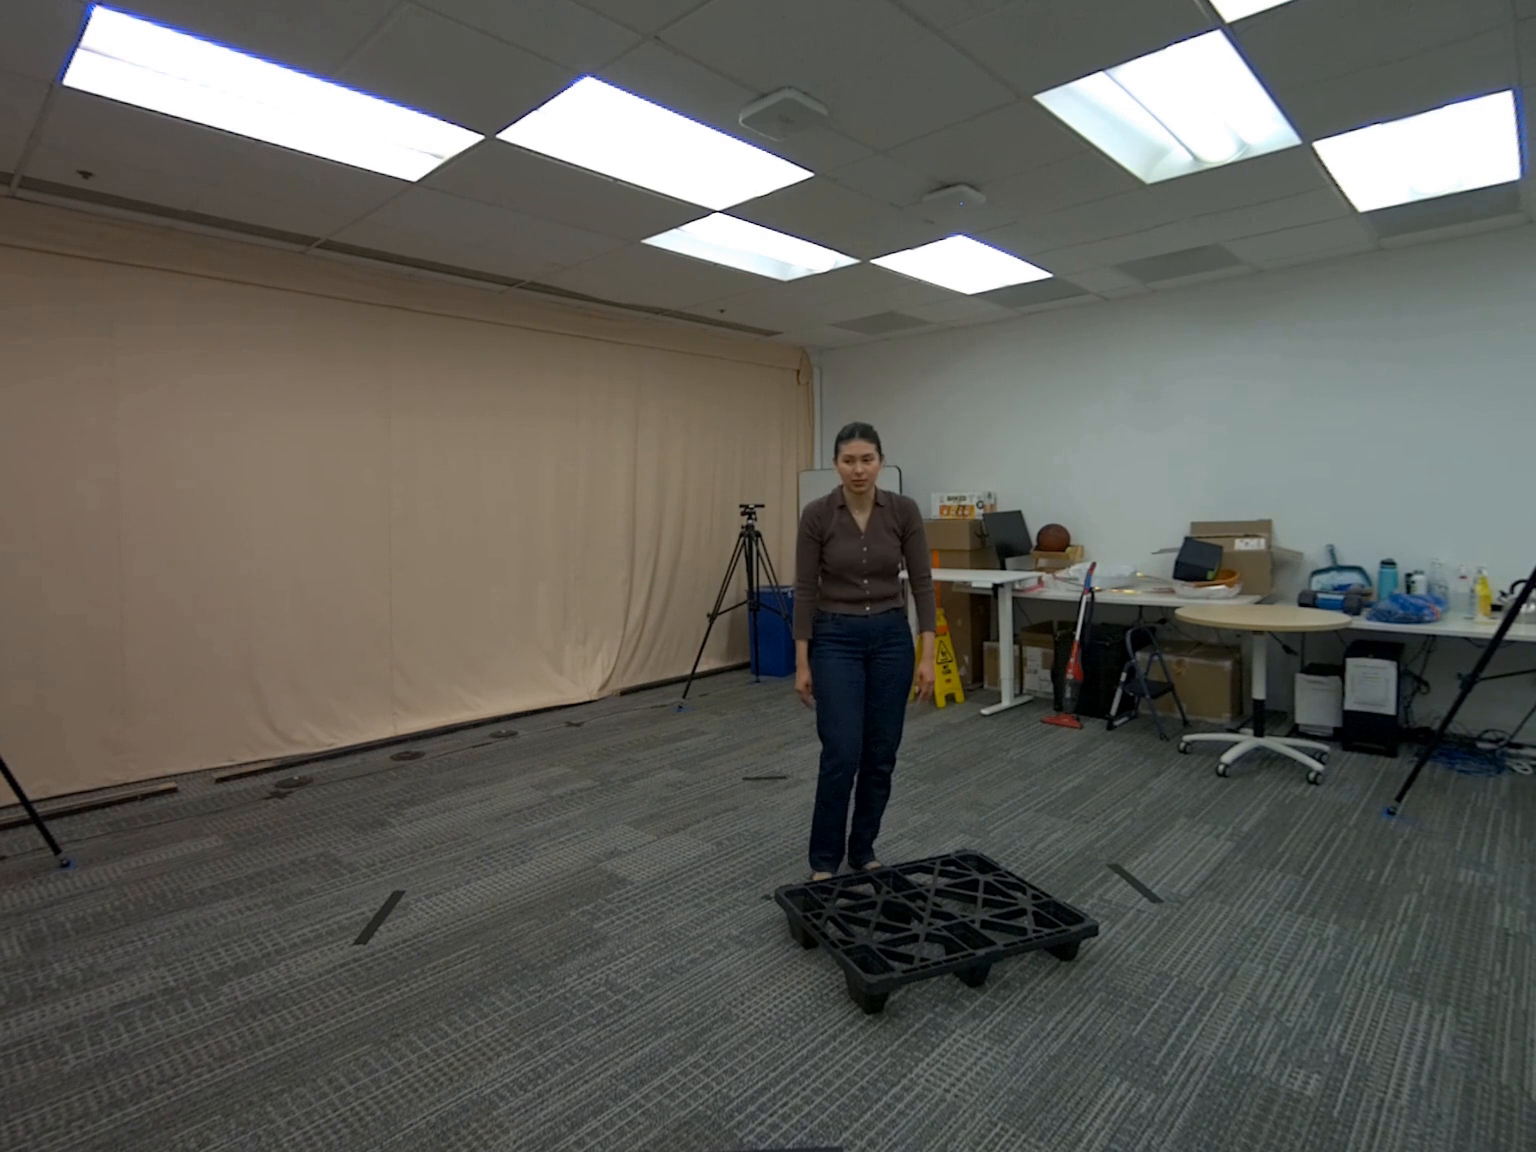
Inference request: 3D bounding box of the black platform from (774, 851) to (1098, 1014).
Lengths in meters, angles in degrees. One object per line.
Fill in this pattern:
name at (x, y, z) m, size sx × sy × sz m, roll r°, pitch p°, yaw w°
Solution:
black platform at (0.513, 1.093, 2.627) m, size 0.788 × 0.143 × 0.620 m, roll -3°, pitch 6°, yaw -22°
